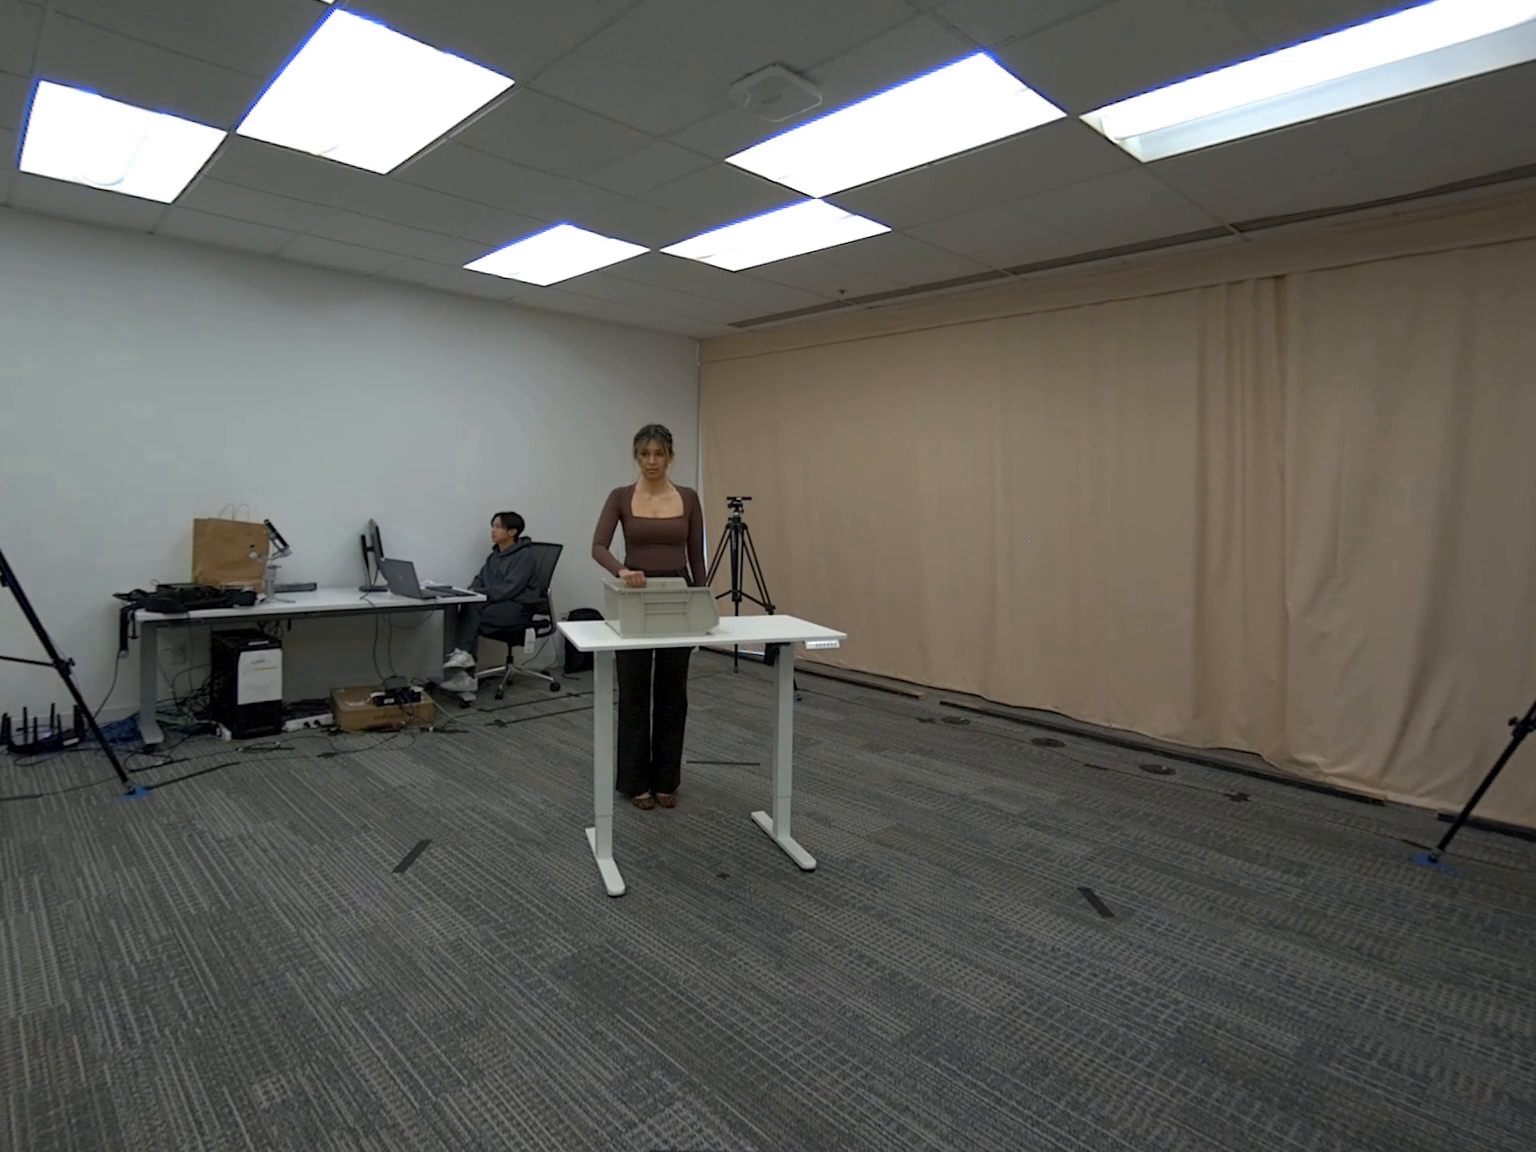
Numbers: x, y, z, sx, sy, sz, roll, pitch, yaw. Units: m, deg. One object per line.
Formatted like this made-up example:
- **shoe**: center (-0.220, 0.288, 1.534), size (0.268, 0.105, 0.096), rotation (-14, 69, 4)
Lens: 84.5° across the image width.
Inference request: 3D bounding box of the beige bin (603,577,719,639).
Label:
- **beige bin**: center (-0.432, 0.118, 3.237), size (0.372, 0.188, 0.429), rotation (-1, 5, -19)
